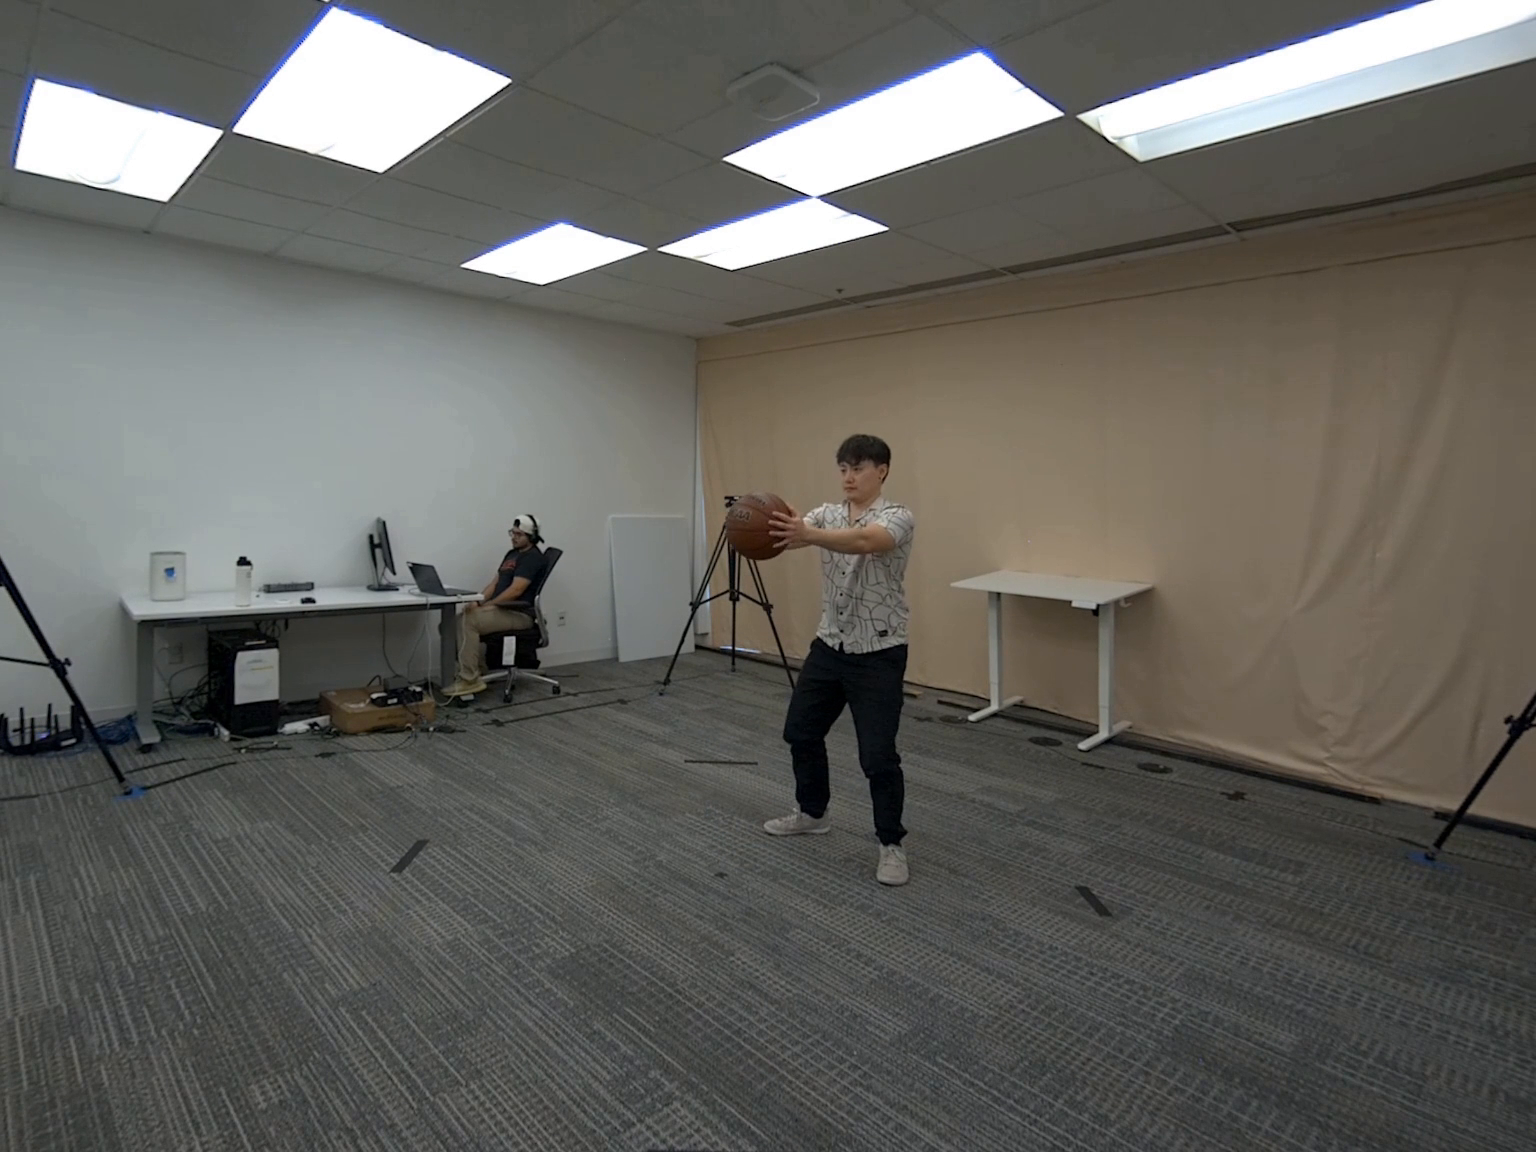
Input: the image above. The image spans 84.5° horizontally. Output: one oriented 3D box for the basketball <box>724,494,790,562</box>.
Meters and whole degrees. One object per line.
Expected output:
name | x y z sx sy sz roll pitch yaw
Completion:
basketball | -0.040 -0.167 2.919 0.236 0.235 0.237 1 4 -1
